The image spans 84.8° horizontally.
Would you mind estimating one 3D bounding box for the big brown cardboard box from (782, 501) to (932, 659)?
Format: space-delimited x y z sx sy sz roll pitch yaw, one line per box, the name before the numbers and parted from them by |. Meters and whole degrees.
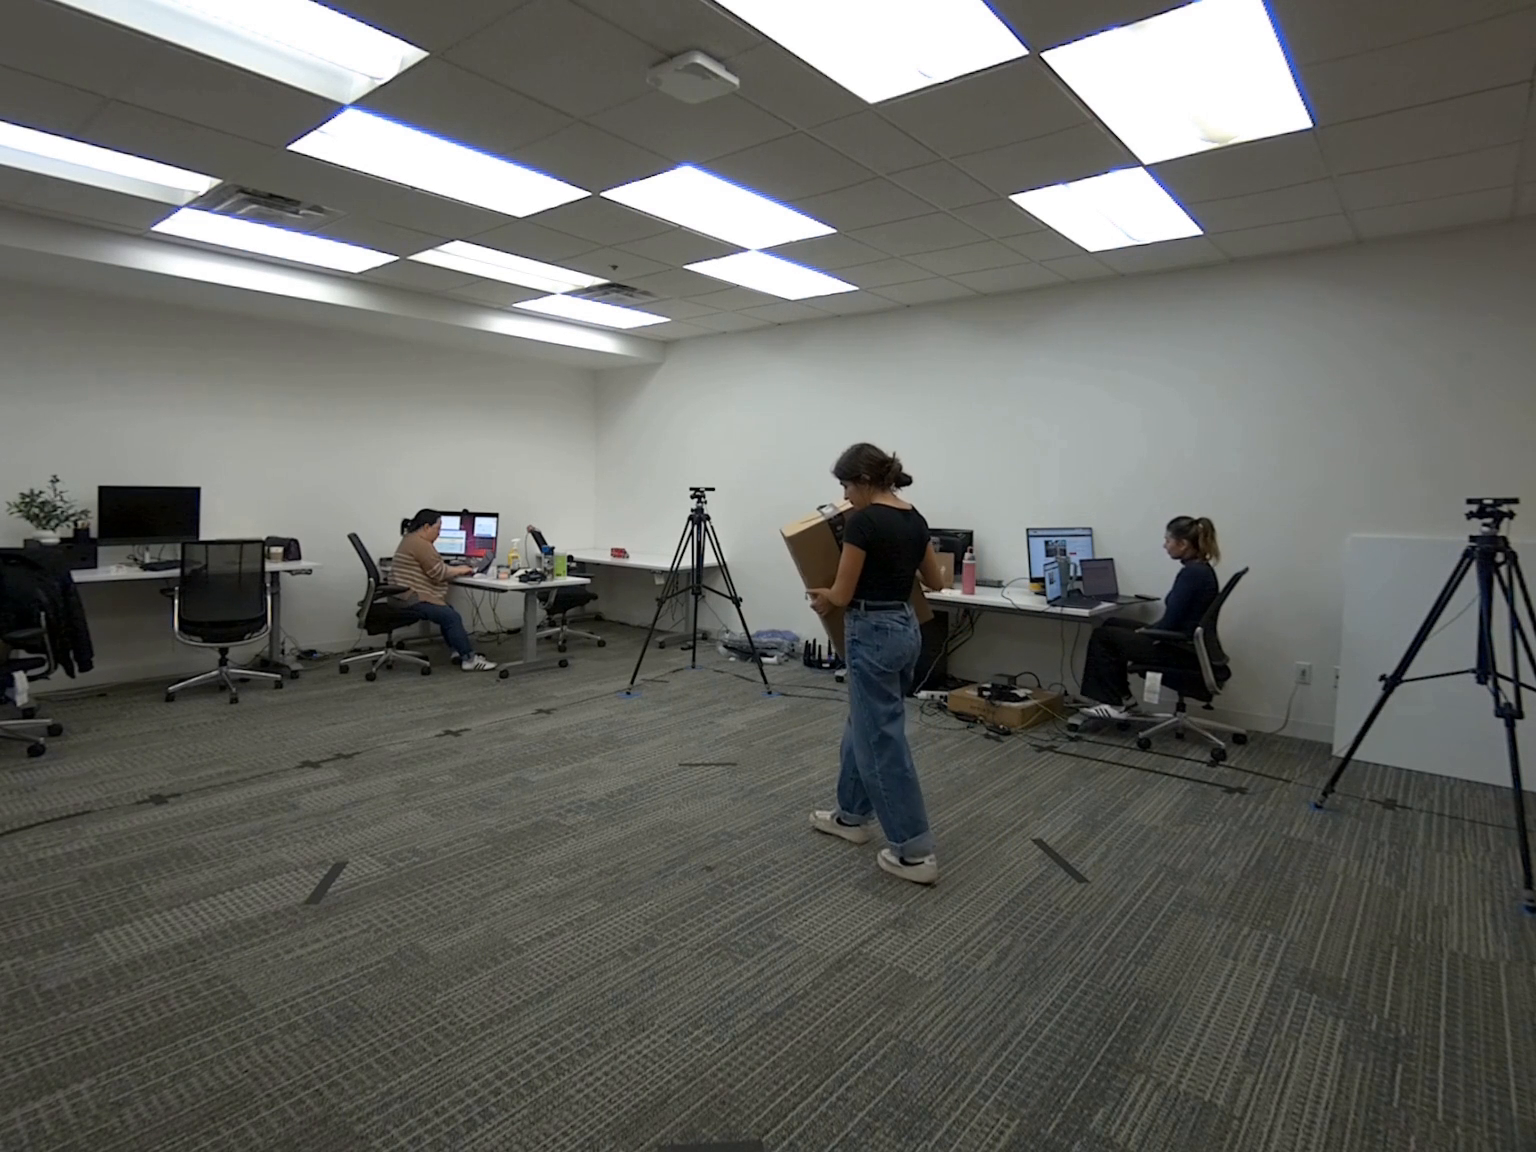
big brown cardboard box | 0.350 -0.023 3.498 0.418 0.581 0.236 -24 10 2
